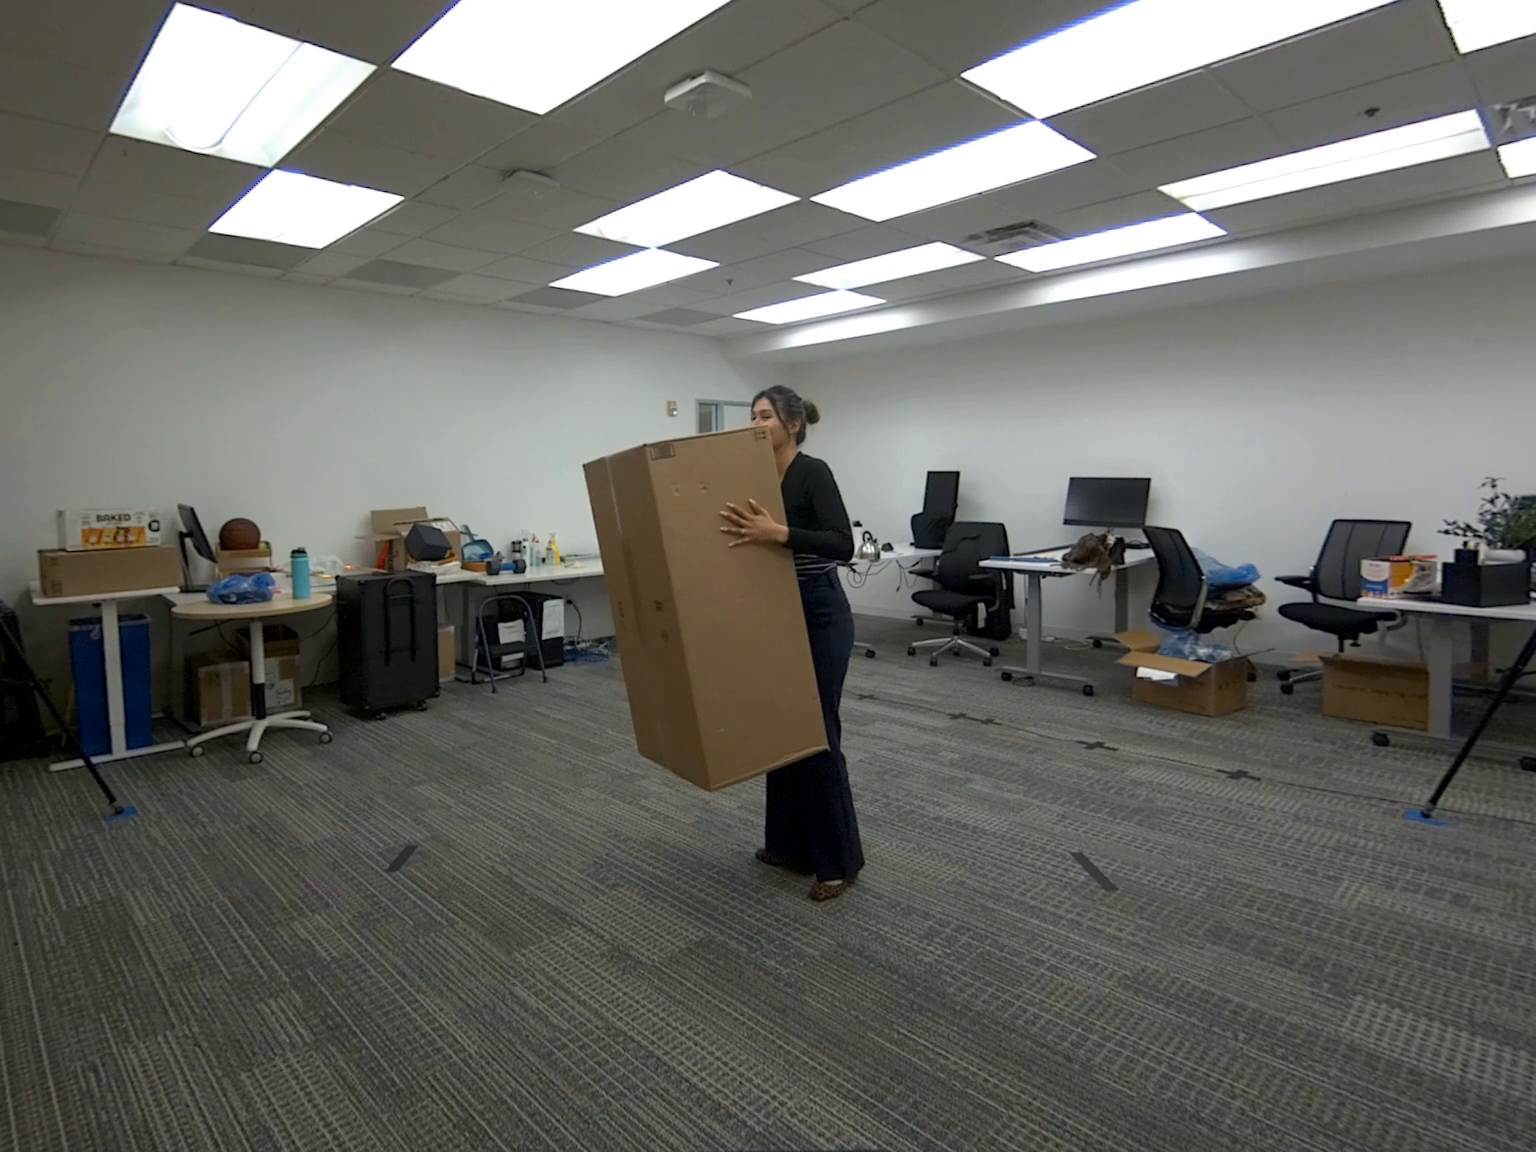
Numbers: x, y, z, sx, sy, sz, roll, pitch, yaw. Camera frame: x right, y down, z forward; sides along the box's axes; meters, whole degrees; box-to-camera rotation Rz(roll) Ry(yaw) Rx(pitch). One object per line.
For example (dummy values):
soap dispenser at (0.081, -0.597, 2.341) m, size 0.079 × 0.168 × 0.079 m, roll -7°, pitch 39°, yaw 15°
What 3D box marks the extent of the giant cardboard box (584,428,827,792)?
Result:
giant cardboard box at (-0.219, 0.080, 2.785) m, size 0.418 × 1.022 × 0.590 m, roll -13°, pitch 4°, yaw -28°
